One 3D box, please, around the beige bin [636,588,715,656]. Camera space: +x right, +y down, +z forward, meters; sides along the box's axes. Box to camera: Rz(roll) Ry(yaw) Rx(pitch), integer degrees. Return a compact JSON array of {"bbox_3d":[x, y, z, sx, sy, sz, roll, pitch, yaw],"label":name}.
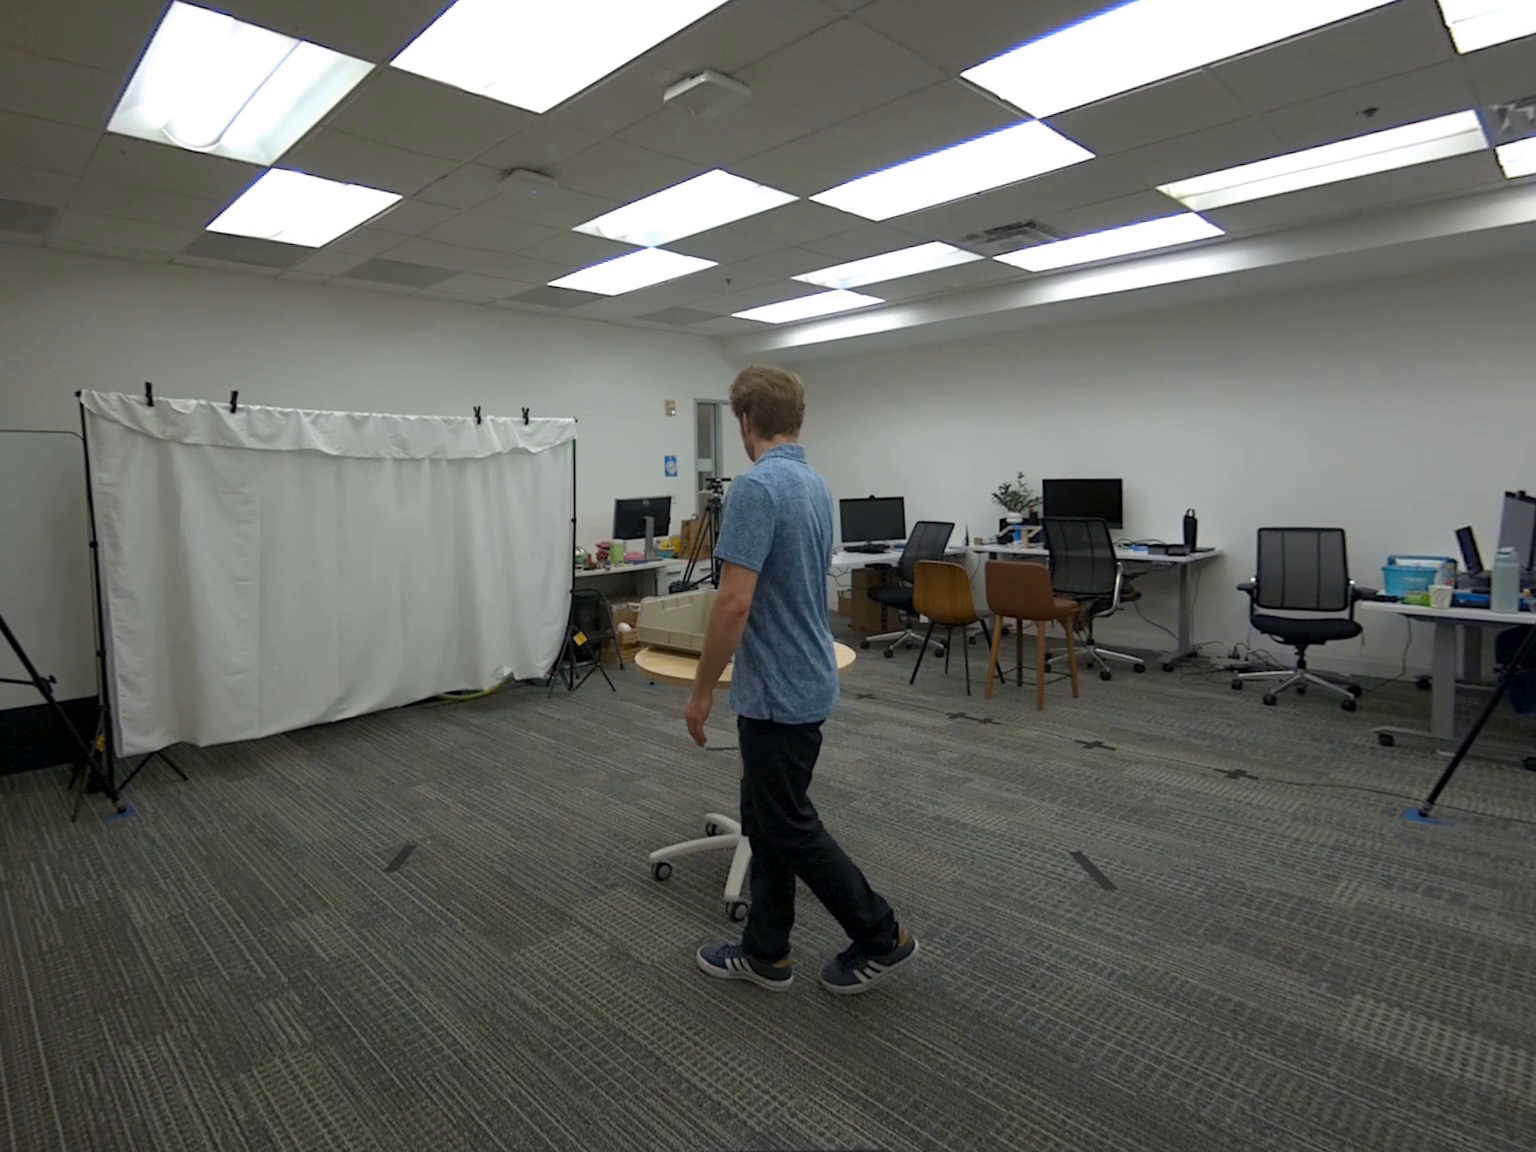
[{"bbox_3d":[-0.194,0.173,3.075,0.435,0.188,0.367,3,6,39],"label":"beige bin"}]
